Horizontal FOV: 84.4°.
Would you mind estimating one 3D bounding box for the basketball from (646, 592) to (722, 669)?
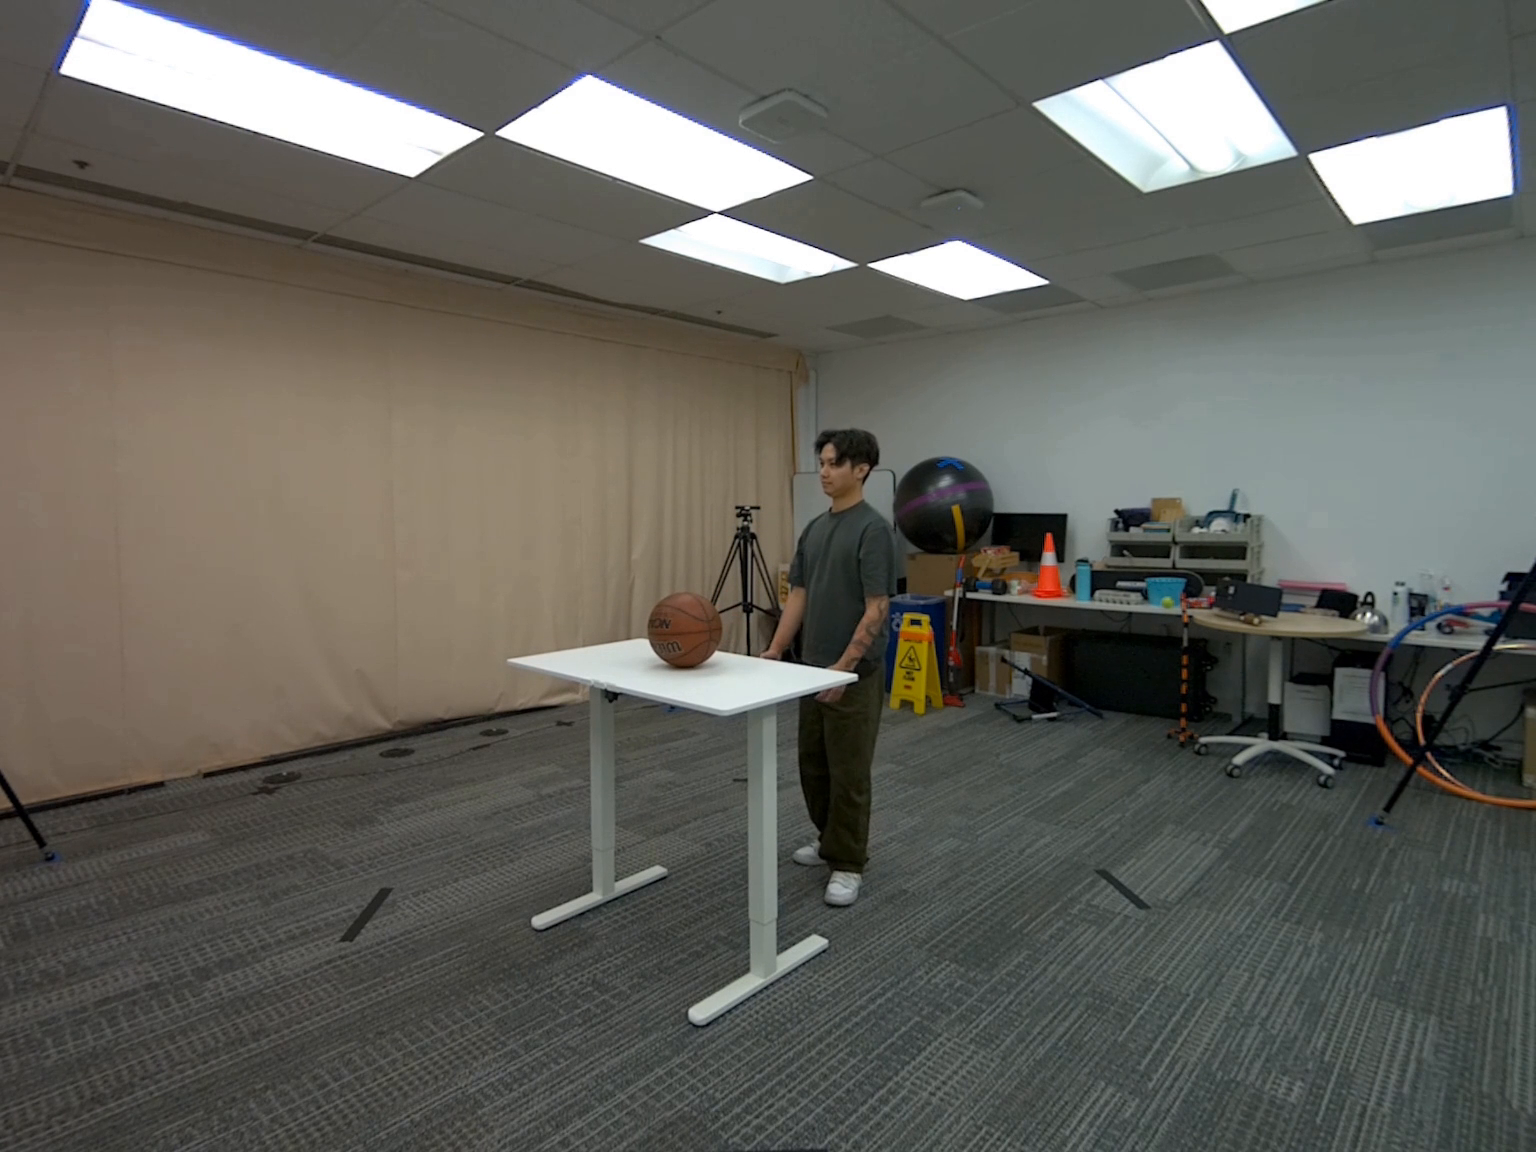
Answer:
[{"bbox_3d":[-0.263,0.173,2.681,0.236,0.235,0.237,0,4,-2],"label":"basketball"}]
